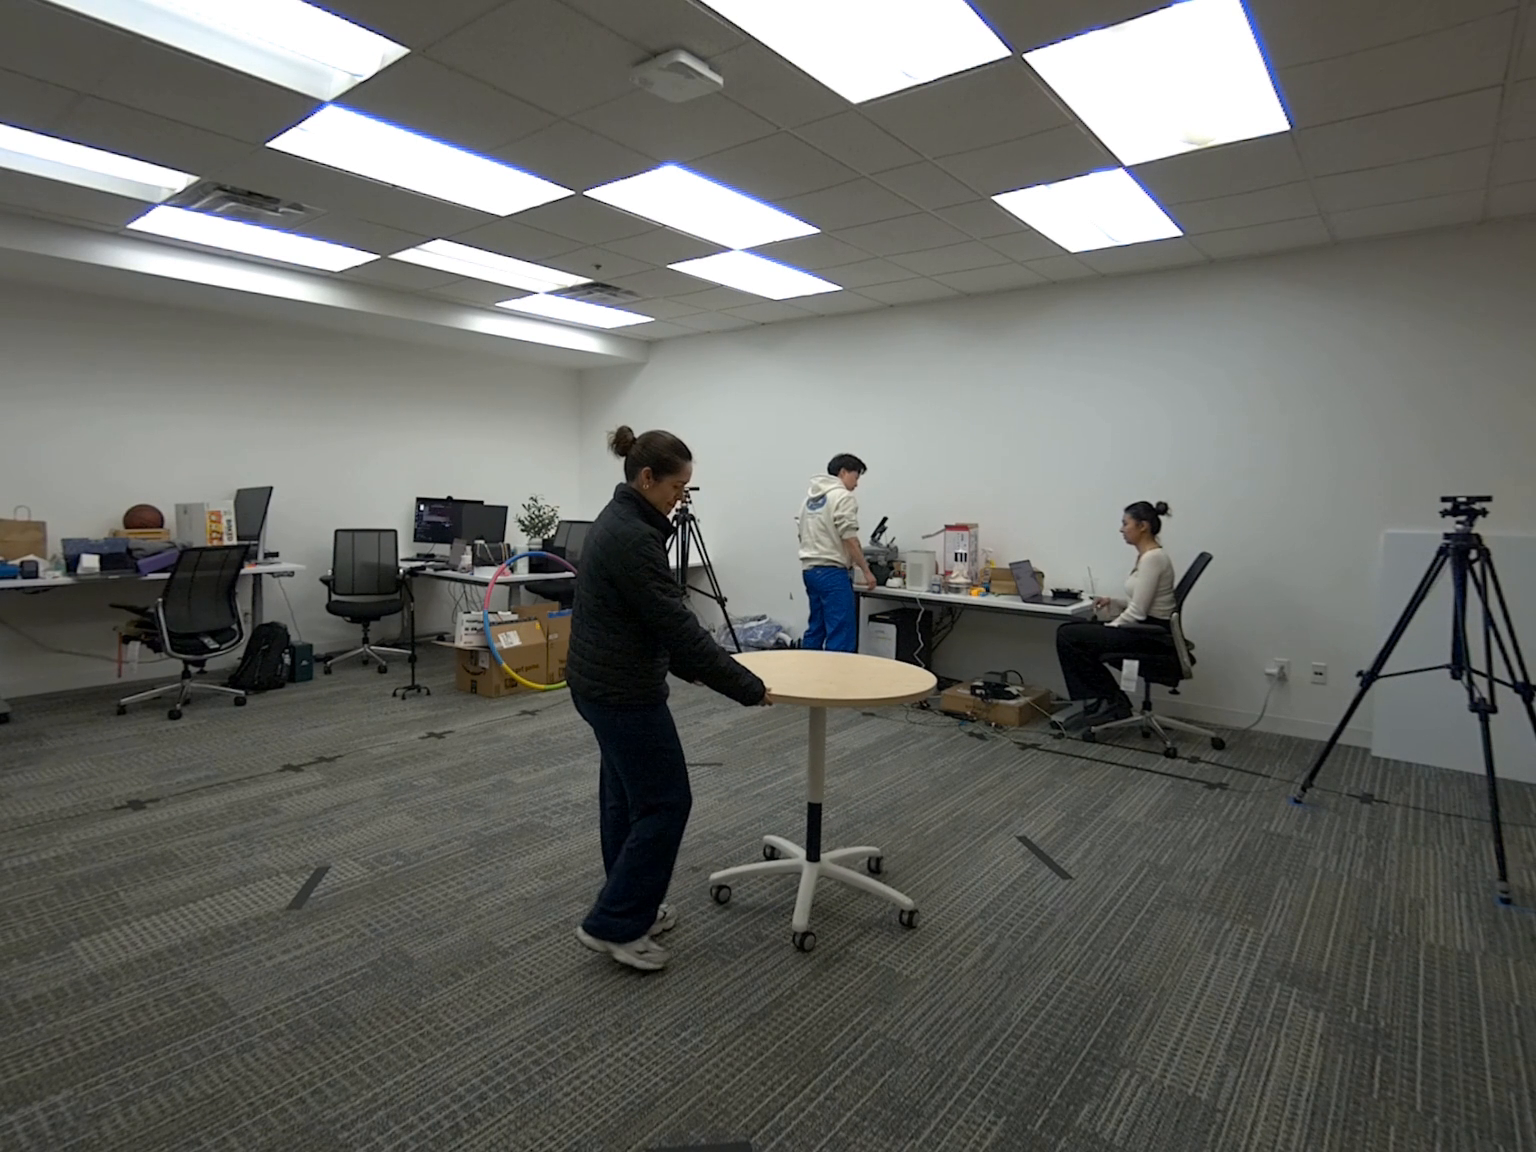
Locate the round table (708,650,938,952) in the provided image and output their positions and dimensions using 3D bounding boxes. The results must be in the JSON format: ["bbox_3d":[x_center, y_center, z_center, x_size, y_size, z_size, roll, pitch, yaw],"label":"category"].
[{"bbox_3d":[0.164,0.703,2.880,0.784,0.784,0.789,1,4,-2],"label":"round table"}]
